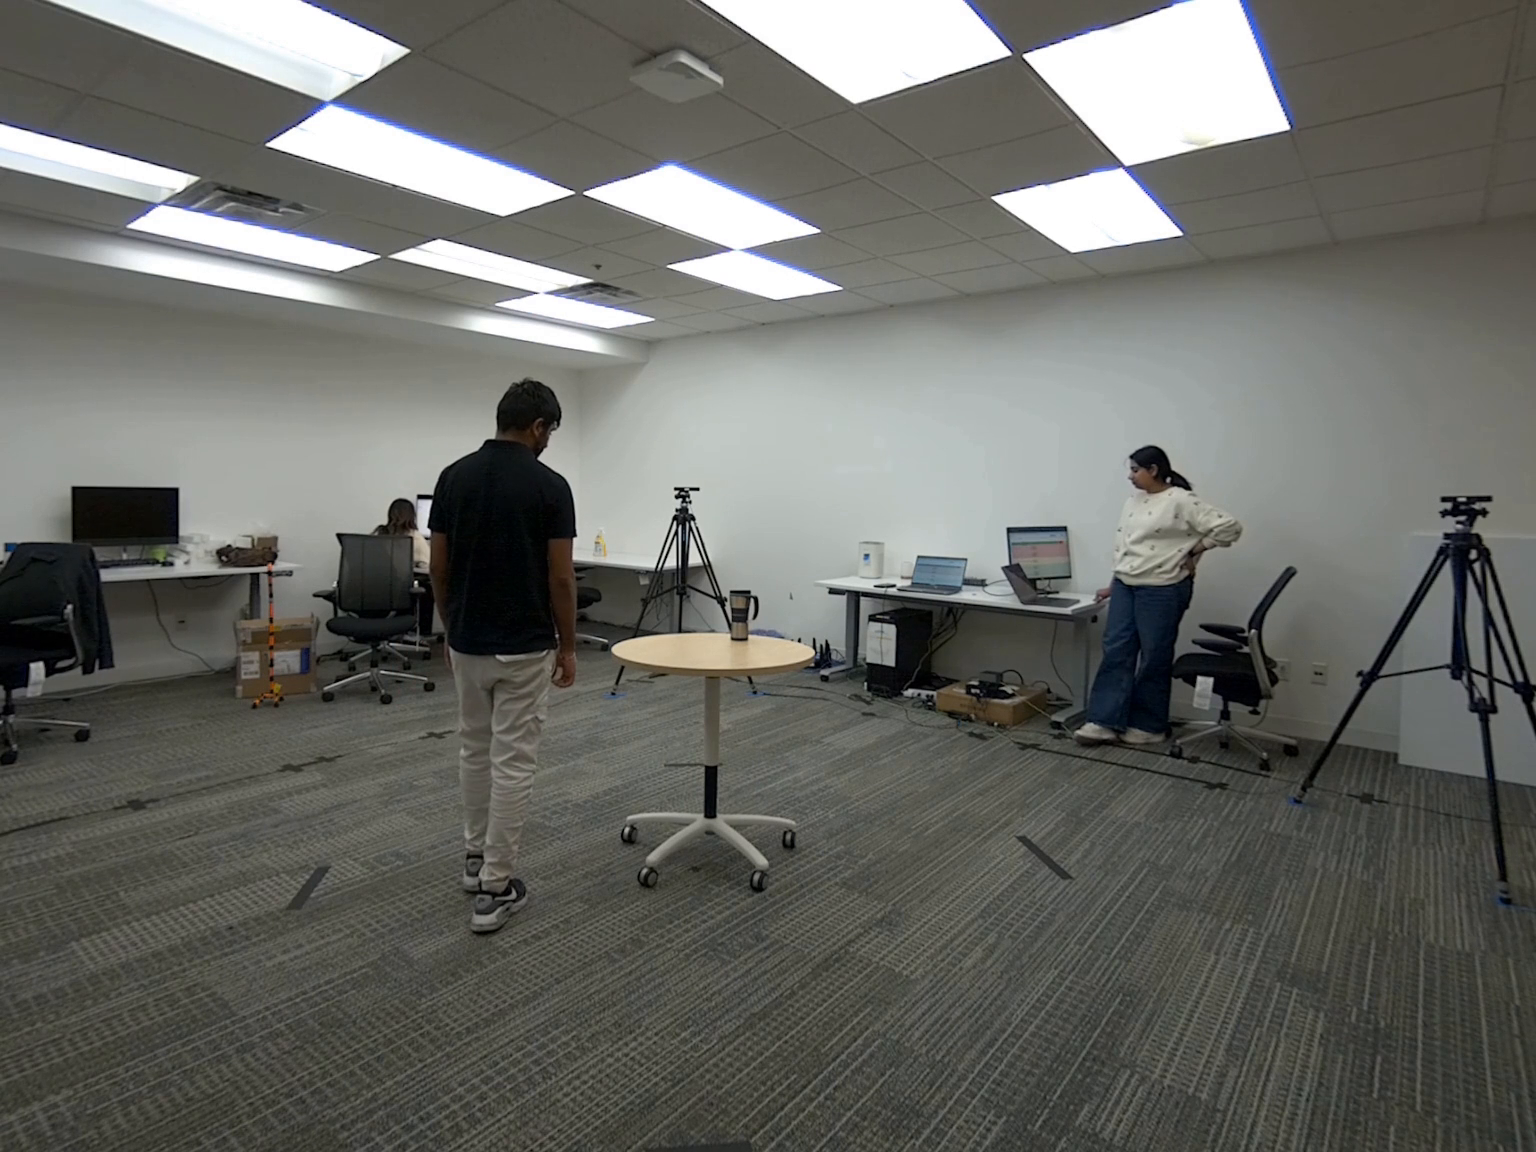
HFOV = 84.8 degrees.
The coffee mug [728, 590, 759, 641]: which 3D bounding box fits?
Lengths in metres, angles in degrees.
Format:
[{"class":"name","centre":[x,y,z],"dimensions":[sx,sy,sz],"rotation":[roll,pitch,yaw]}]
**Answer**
[{"class":"coffee mug","centre":[-0.108,0.157,3.421],"dimensions":[0.085,0.203,0.125],"rotation":[3,-2,-35]}]
